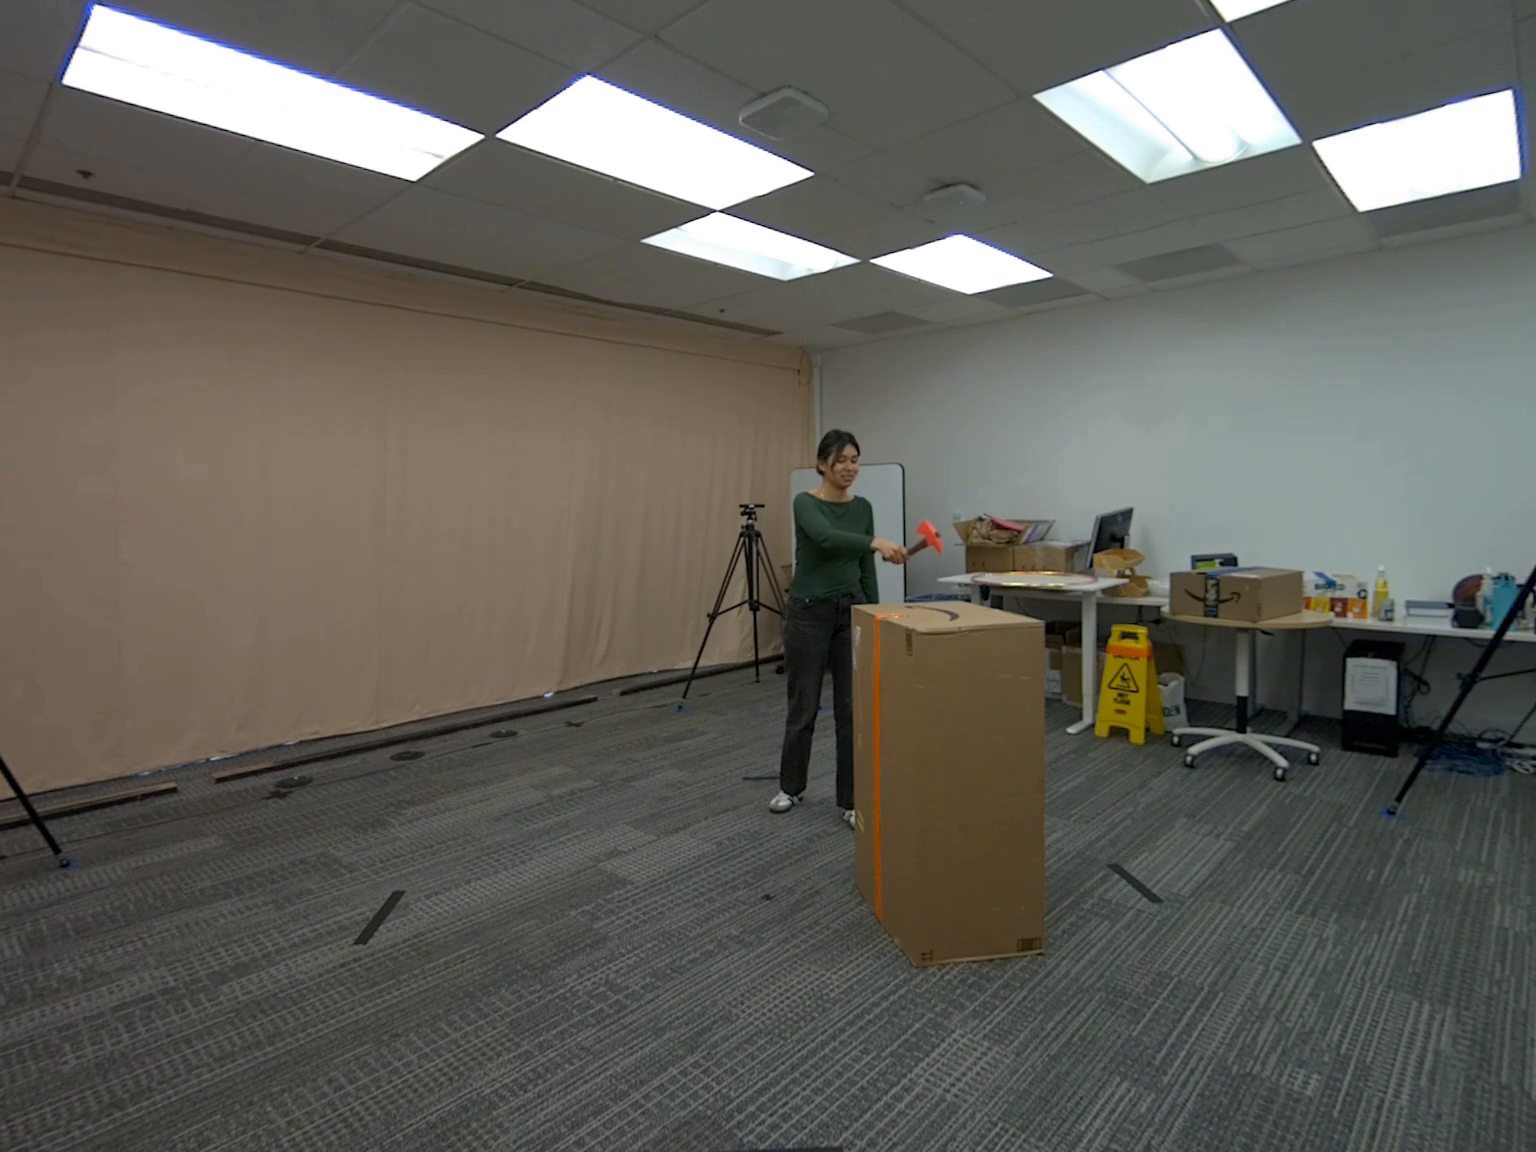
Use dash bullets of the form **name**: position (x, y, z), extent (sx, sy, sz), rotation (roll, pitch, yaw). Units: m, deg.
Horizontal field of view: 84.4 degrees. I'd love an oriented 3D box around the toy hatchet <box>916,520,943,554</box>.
- **toy hatchet**: position (0.523, -0.130, 3.056), extent (0.029, 0.131, 0.278), rotation (-14, 3, -39)
